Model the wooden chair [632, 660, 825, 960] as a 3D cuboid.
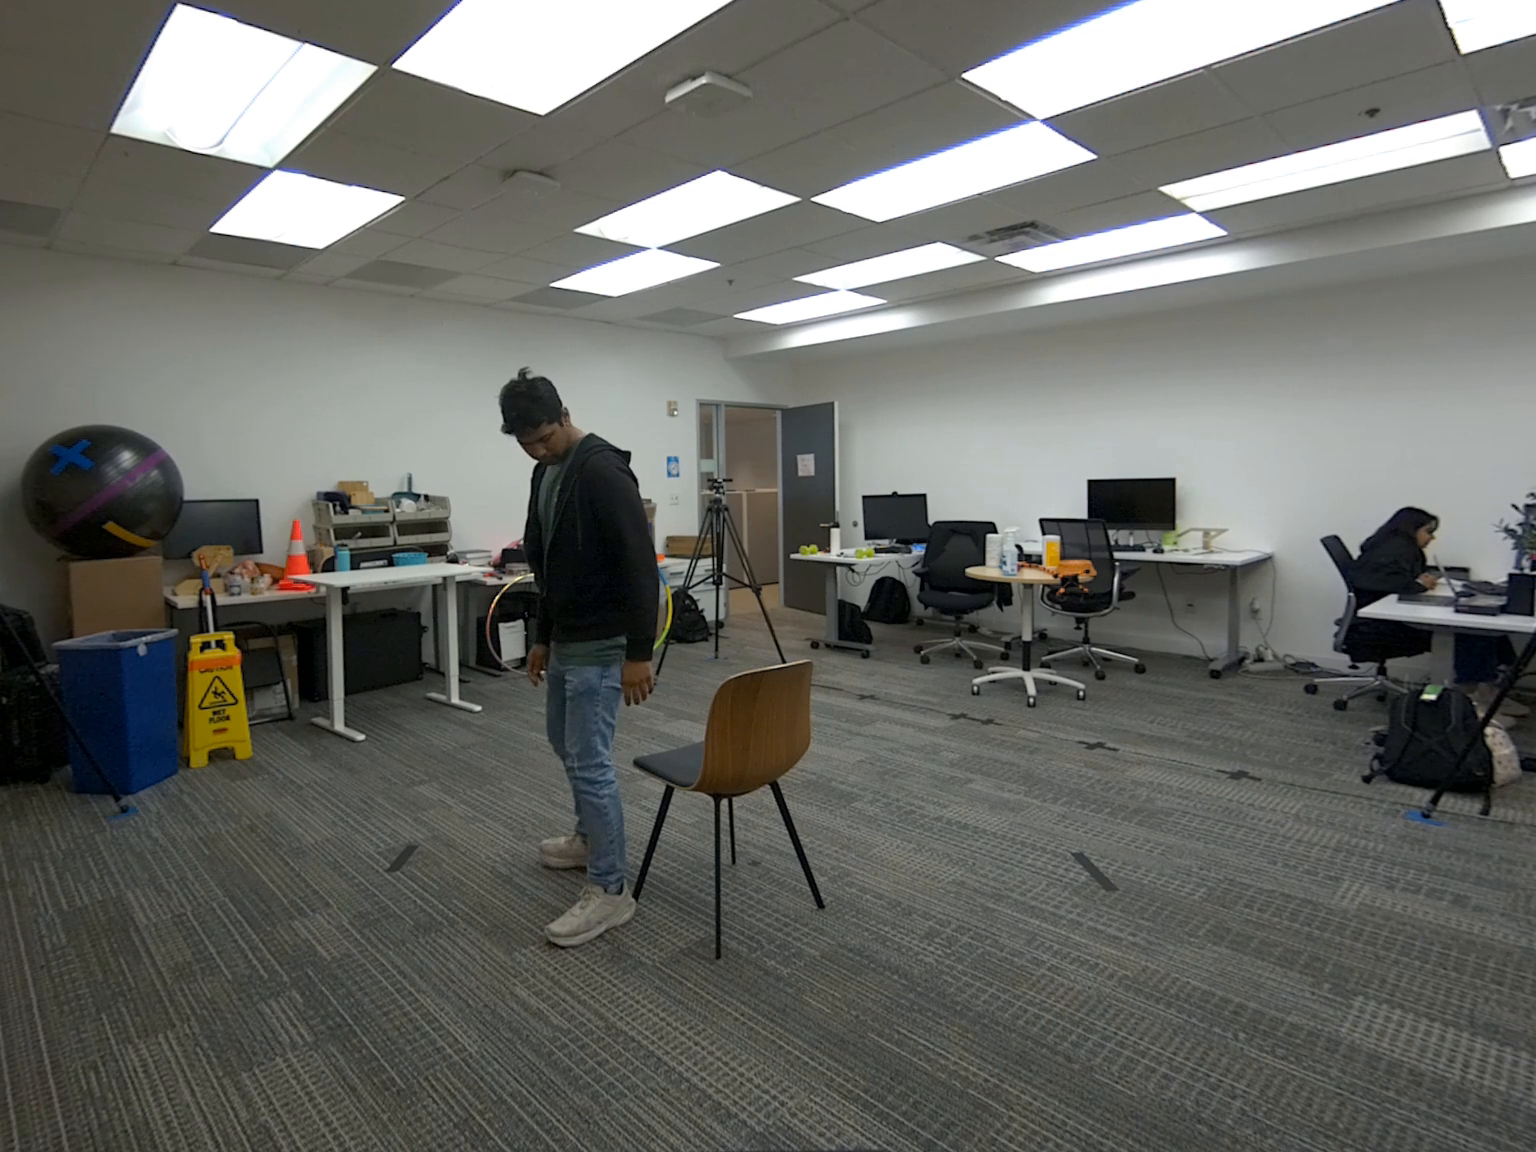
[{"bbox_3d":[-0.144,0.654,2.781,0.465,0.871,0.541,-5,10,-41],"label":"wooden chair"}]
